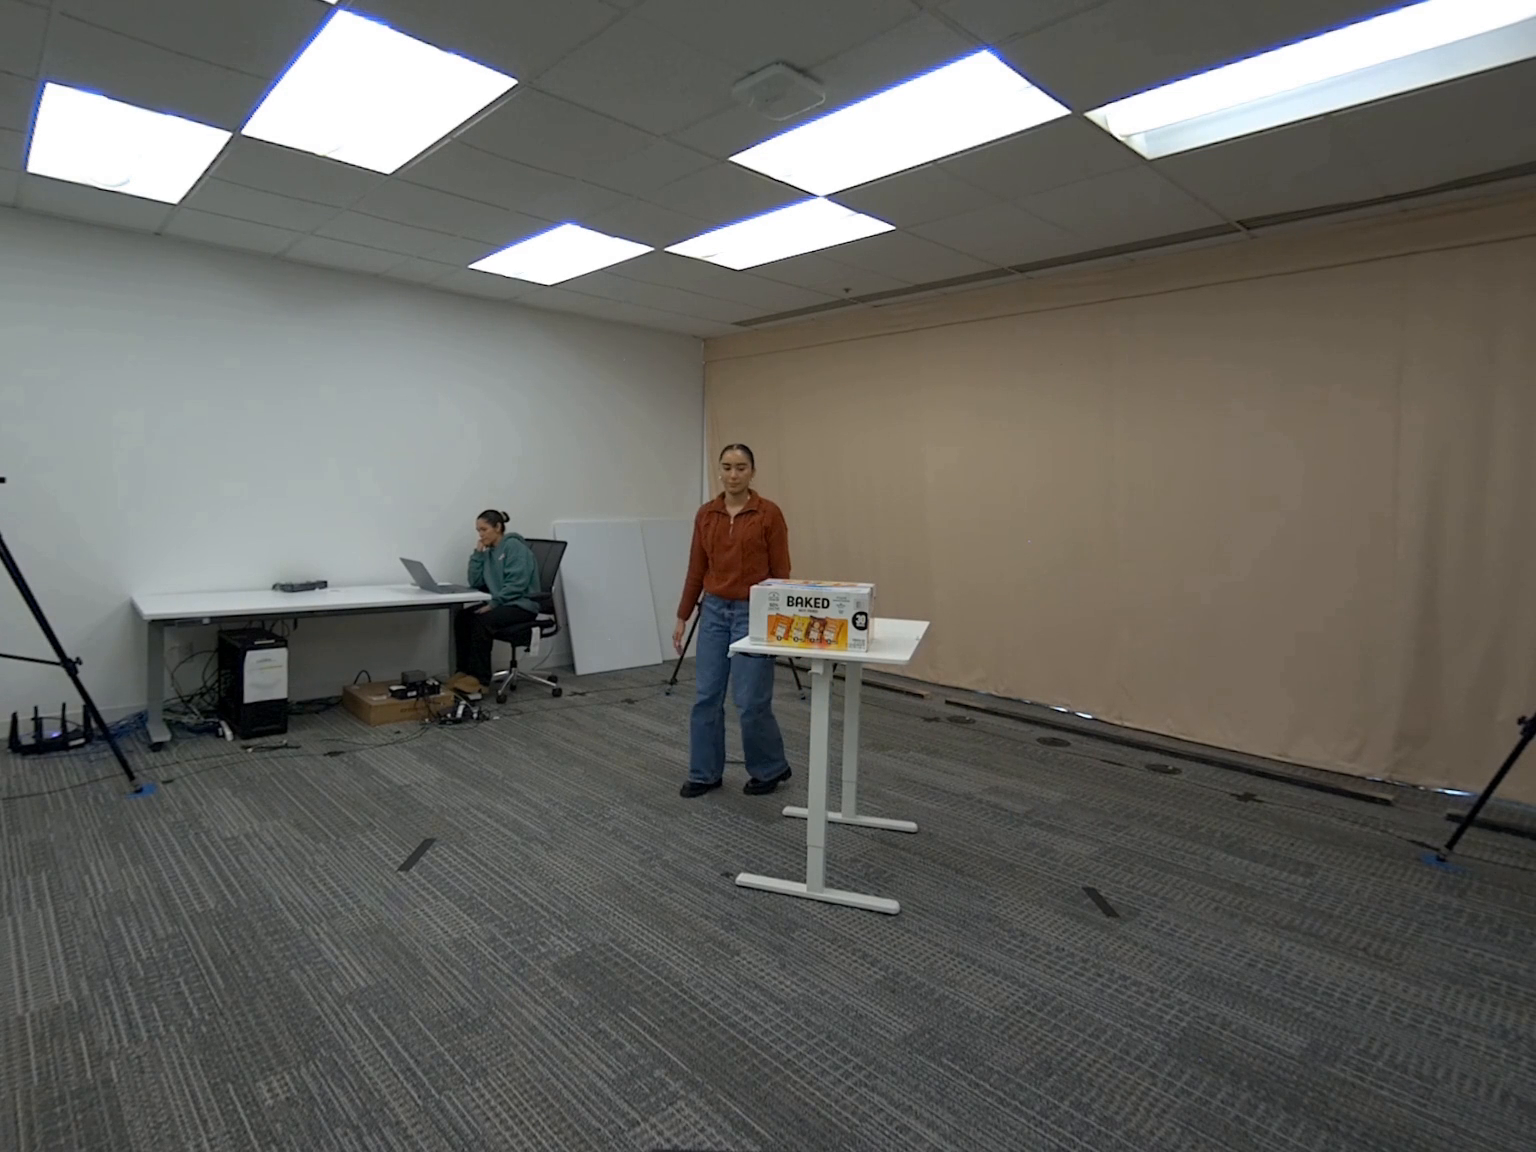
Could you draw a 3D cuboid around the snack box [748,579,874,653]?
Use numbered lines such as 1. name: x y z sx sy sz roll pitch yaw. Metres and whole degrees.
1. snack box: 0.169 0.135 3.010 0.409 0.205 0.338 3 4 10
